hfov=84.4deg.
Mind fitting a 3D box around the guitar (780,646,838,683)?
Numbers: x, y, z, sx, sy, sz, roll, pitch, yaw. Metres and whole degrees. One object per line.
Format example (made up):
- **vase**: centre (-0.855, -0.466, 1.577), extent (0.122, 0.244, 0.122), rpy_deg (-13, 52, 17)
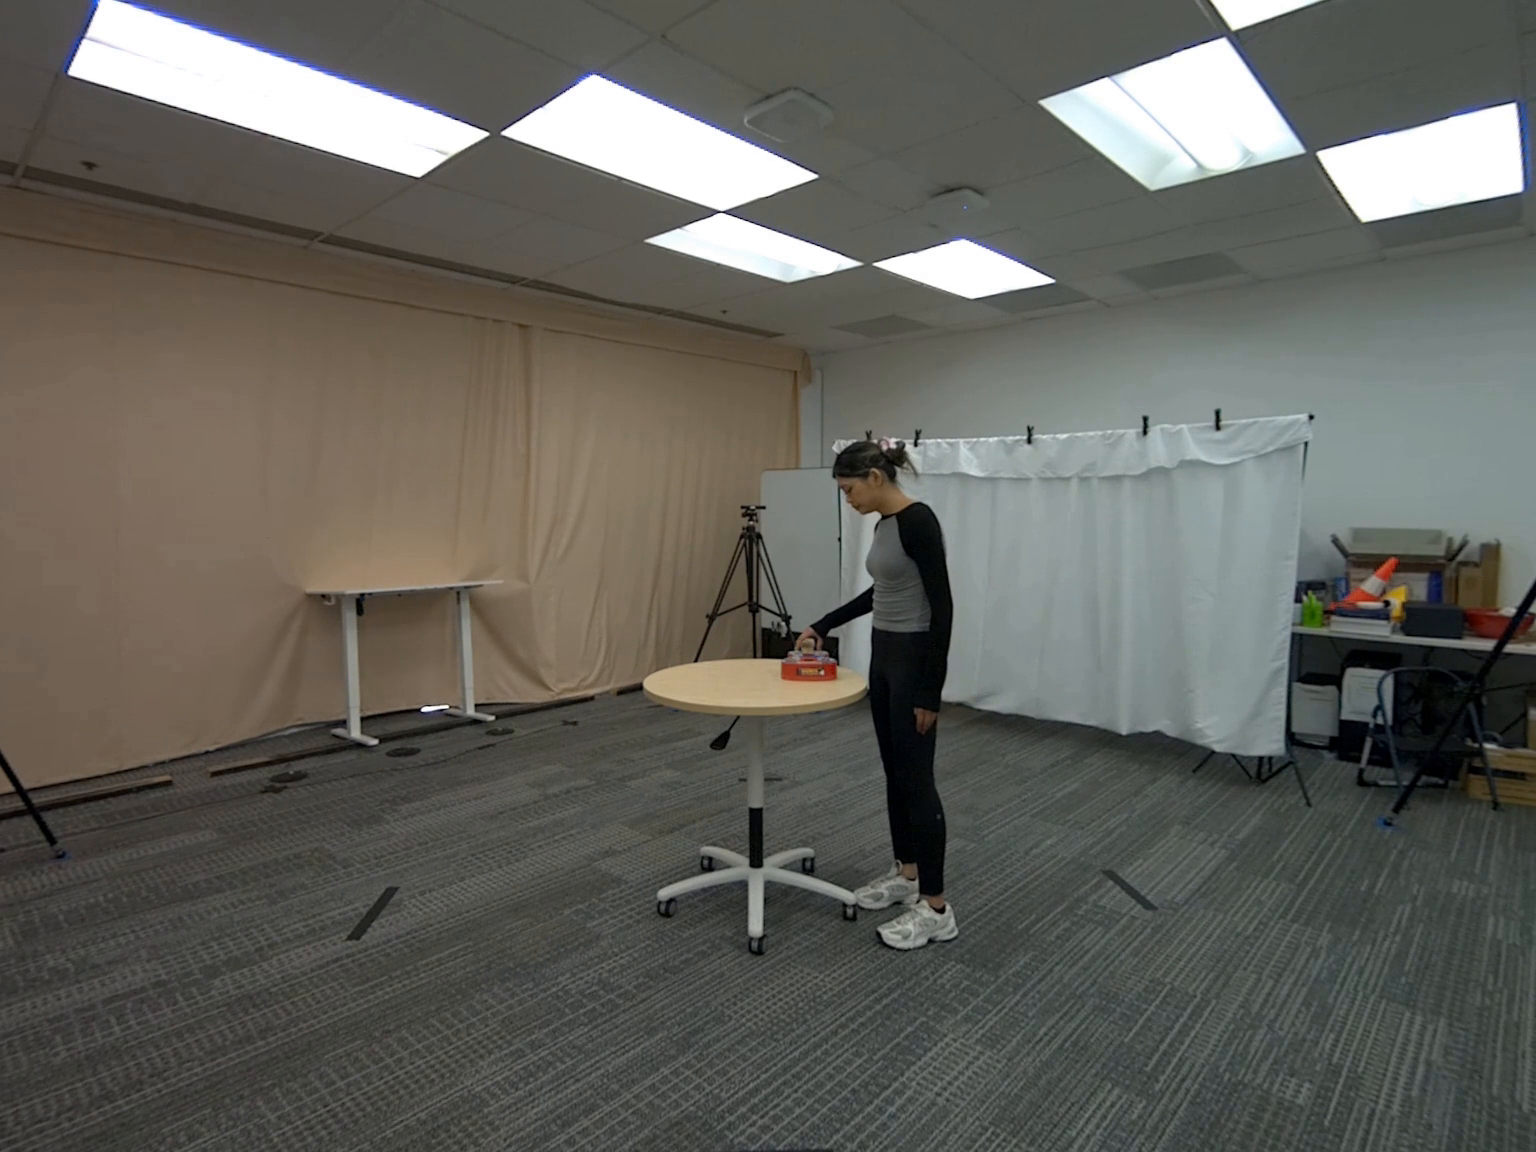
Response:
- **guitar**: centre (0.177, 0.303, 3.106), extent (0.195, 0.070, 0.493), rpy_deg (0, 6, 10)
